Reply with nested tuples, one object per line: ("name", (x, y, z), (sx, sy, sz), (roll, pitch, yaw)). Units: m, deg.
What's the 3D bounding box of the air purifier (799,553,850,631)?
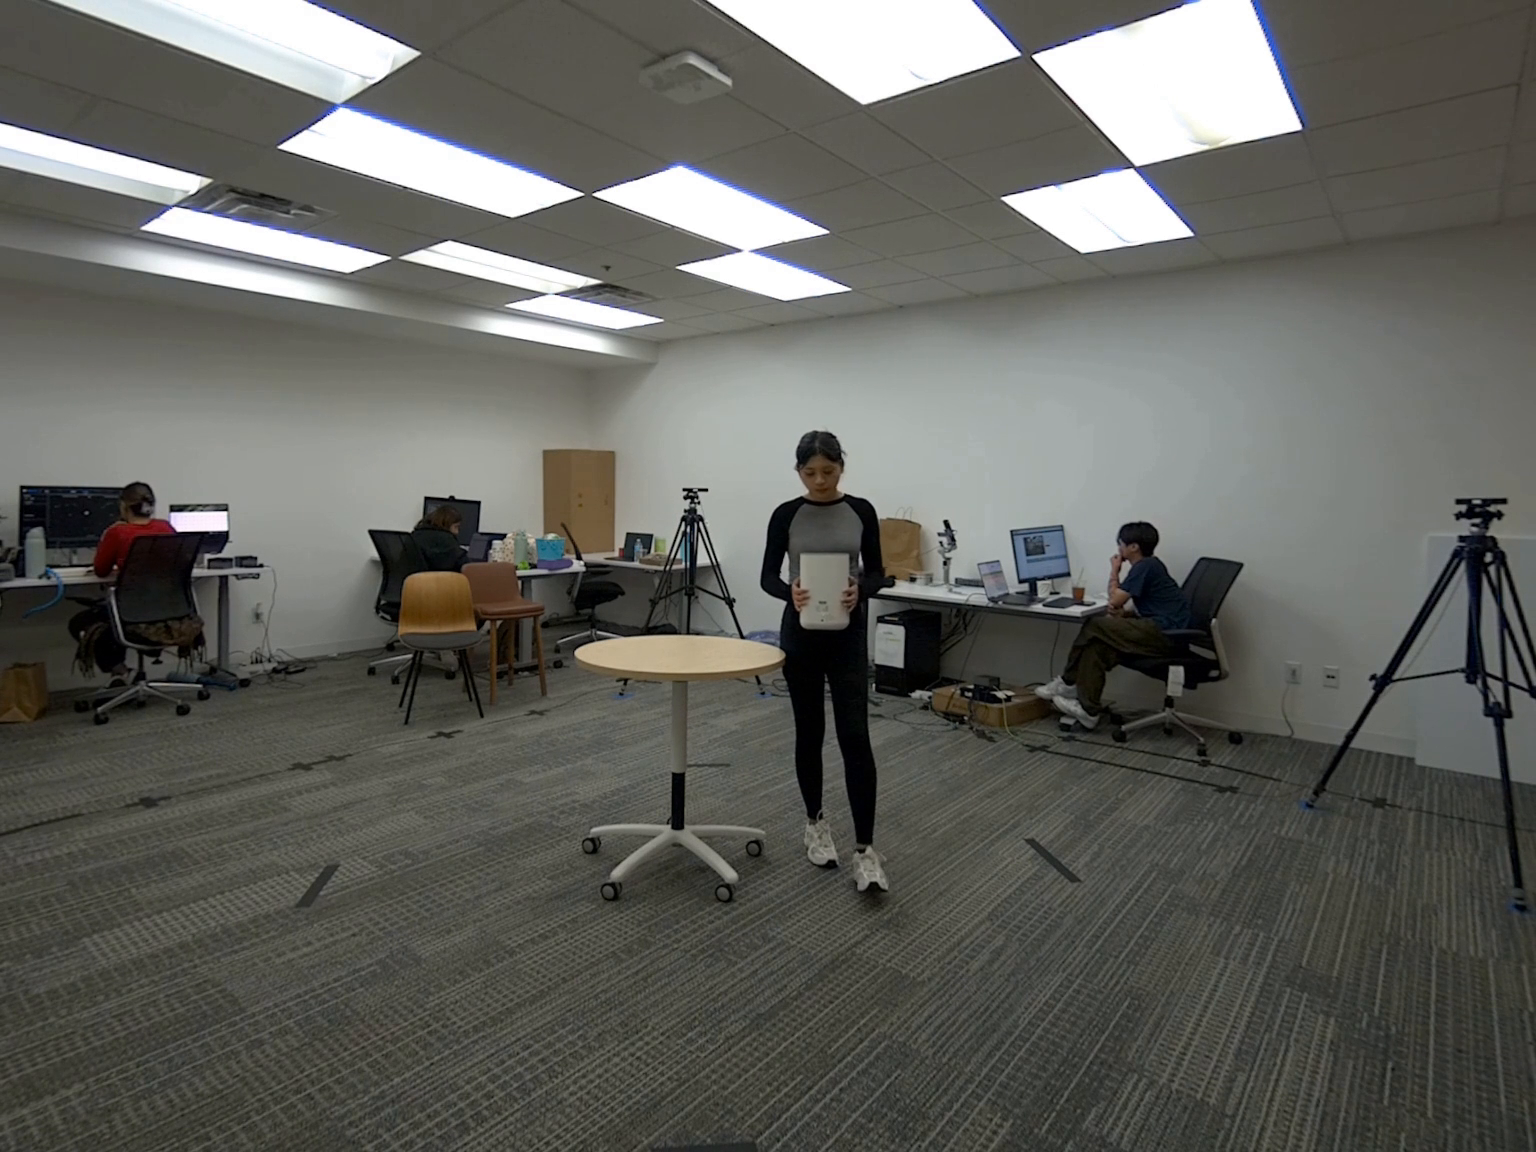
("air purifier", (0.192, 0.049, 3.011), (0.172, 0.266, 0.170), (0, -2, 7))
